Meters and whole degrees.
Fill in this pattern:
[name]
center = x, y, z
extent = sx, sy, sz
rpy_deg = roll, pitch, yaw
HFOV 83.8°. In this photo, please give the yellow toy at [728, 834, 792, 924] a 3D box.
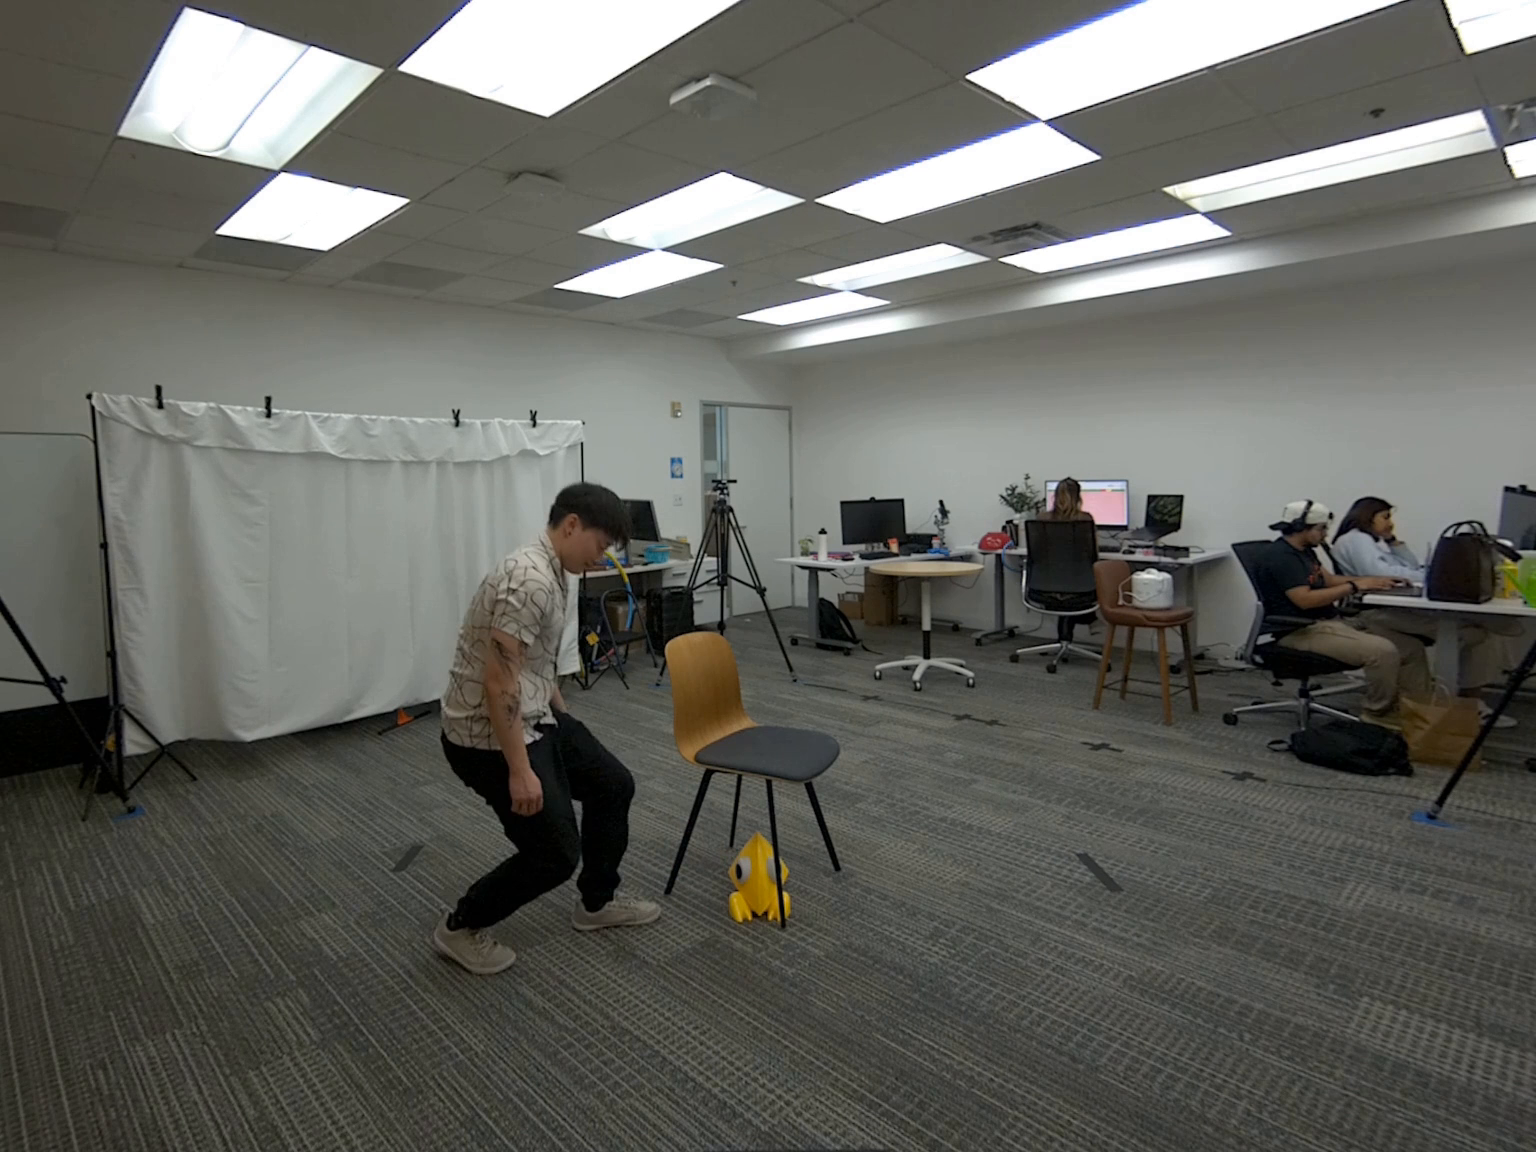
[yellow toy]
center = -0.028, 0.969, 2.779
extent = 0.205, 0.230, 0.193
rpy_deg = -1, 3, 0
